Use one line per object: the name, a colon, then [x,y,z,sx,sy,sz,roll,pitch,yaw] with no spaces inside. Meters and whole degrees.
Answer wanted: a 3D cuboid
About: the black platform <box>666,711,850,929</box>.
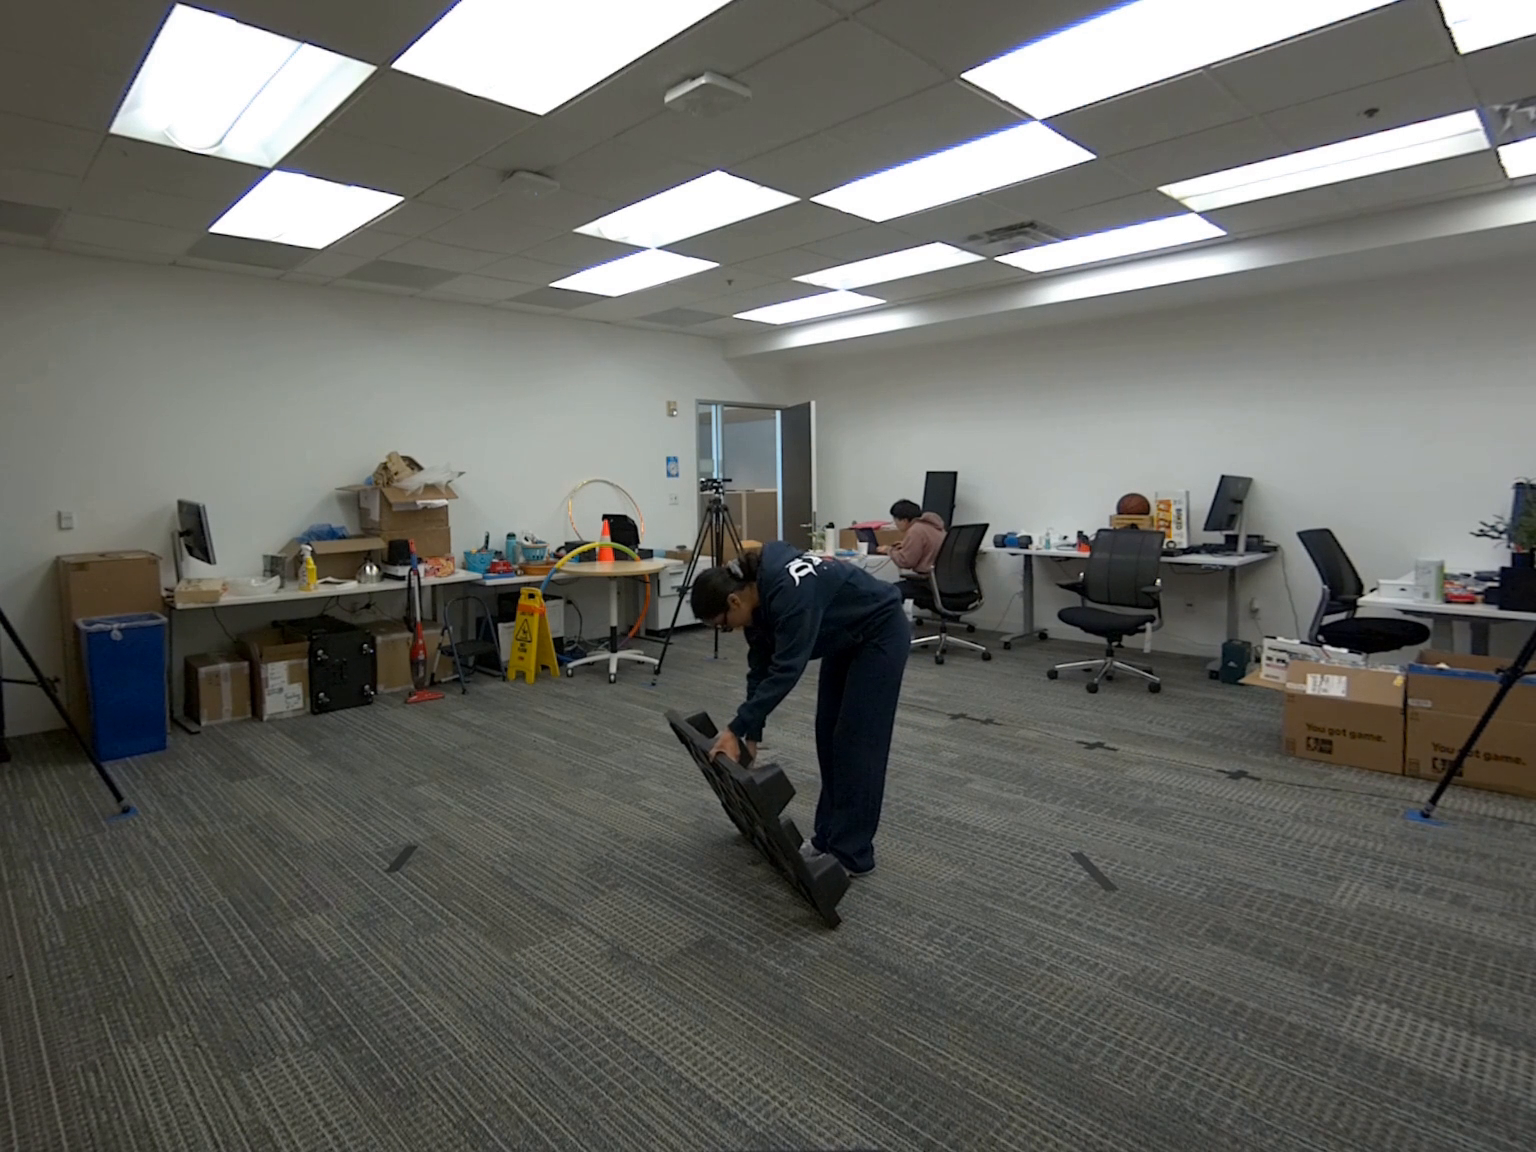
black platform: [-0.045,0.776,2.946,0.143,0.594,0.824,-35,17,-16]
